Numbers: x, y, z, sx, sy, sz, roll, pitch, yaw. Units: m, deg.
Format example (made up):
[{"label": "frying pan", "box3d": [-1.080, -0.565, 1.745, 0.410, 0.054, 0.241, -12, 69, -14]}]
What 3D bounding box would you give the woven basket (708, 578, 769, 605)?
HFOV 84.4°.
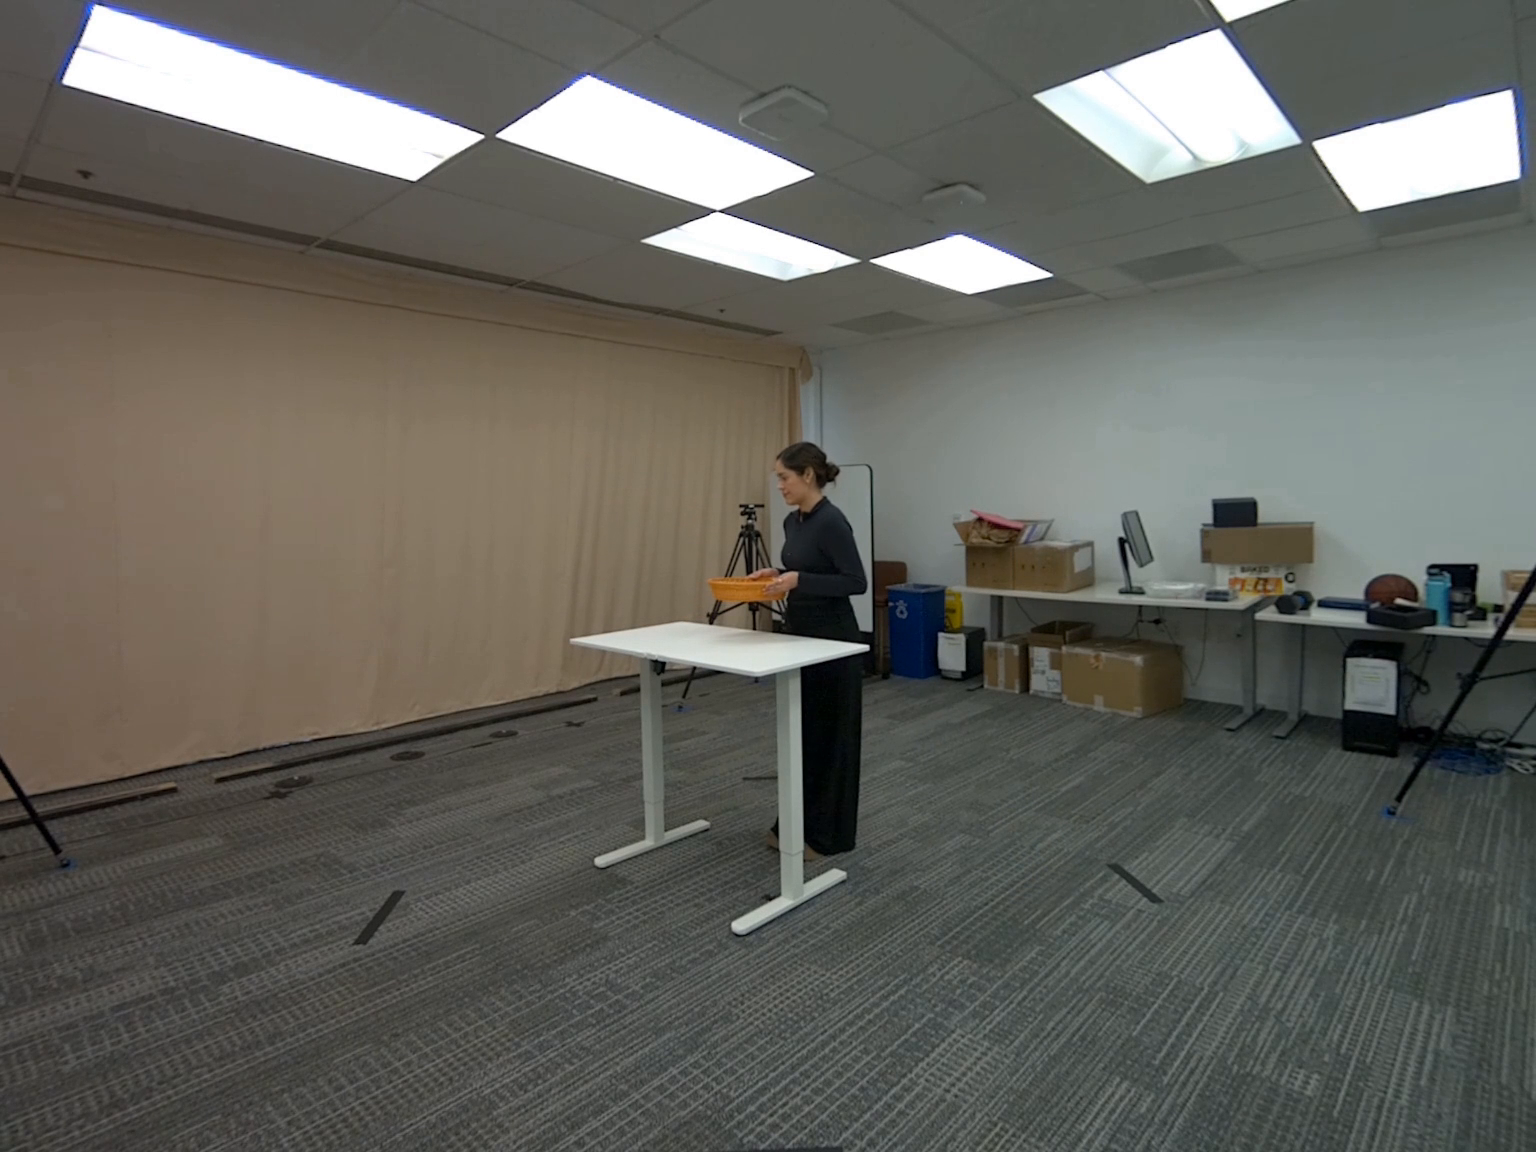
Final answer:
[{"label": "woven basket", "box3d": [-0.051, 0.054, 3.285, 0.341, 0.073, 0.260, -4, 7, -31]}]
